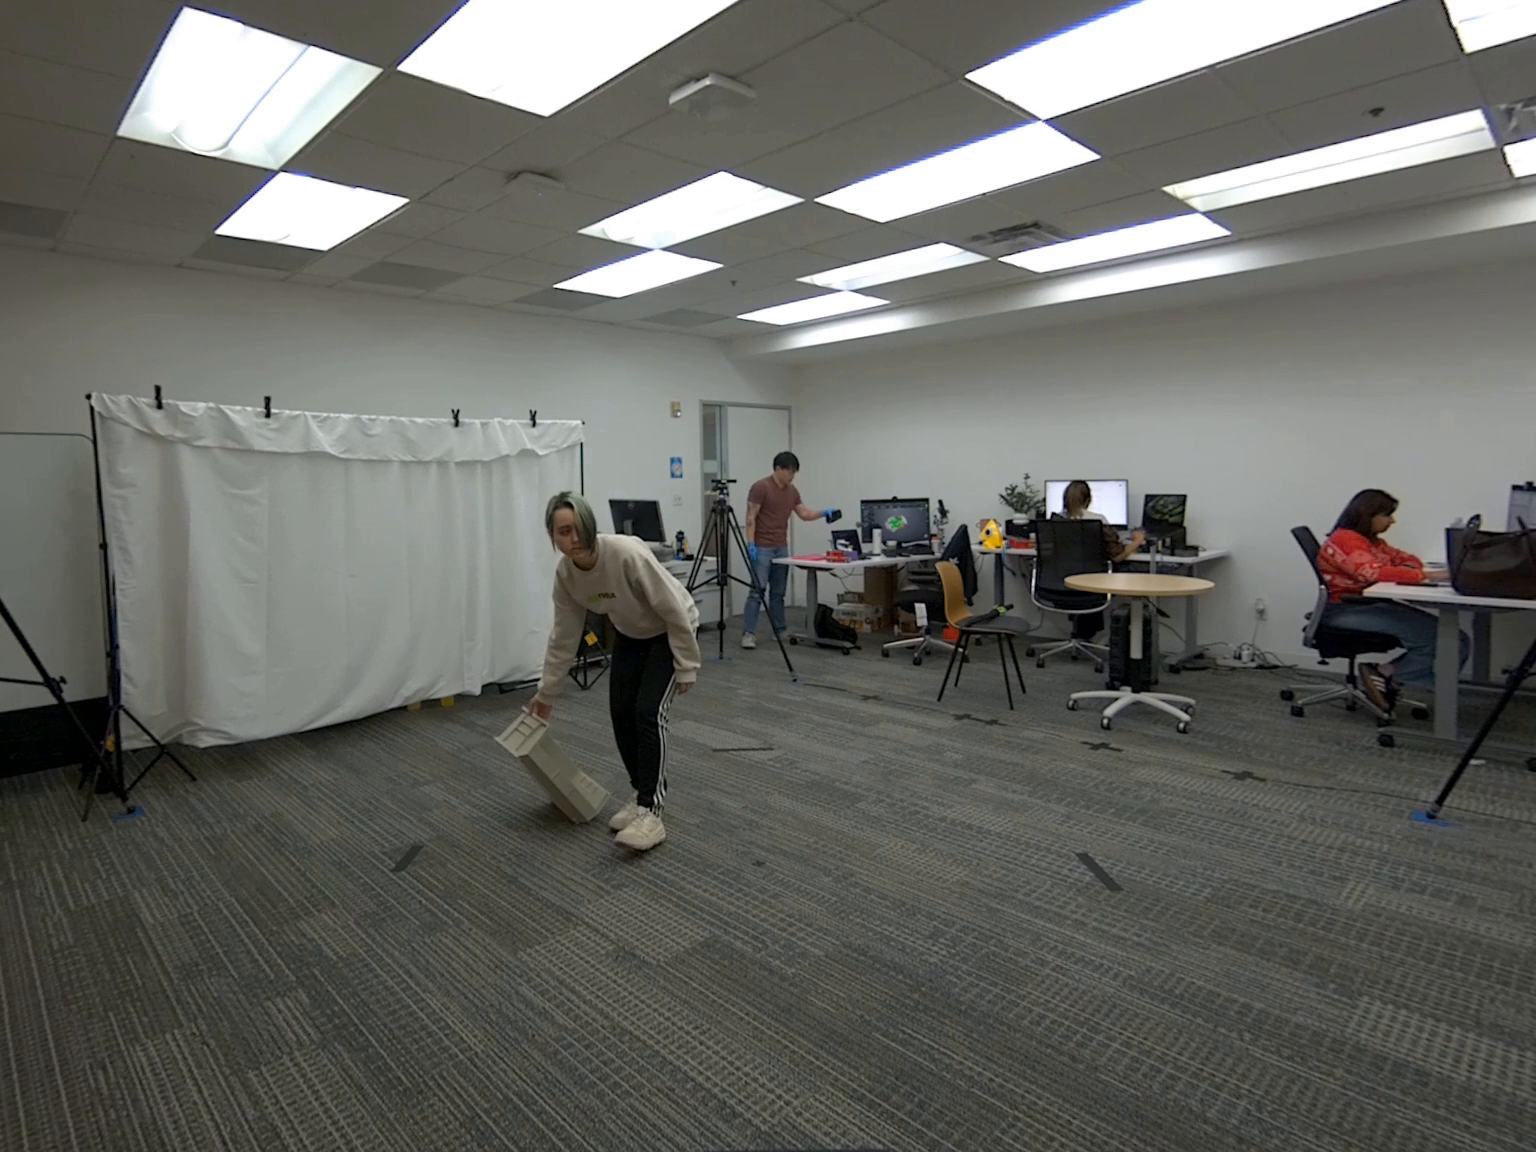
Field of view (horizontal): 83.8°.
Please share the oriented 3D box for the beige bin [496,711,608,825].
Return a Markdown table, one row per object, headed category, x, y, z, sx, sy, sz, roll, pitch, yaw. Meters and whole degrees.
| category | x | y | z | sx | sy | sz | roll | pitch | yaw |
| --- | --- | --- | --- | --- | --- | --- | --- | --- | --- |
| beige bin | -0.898 | 0.791 | 3.571 | 0.189 | 0.411 | 0.388 | -45 | 24 | -22 |
